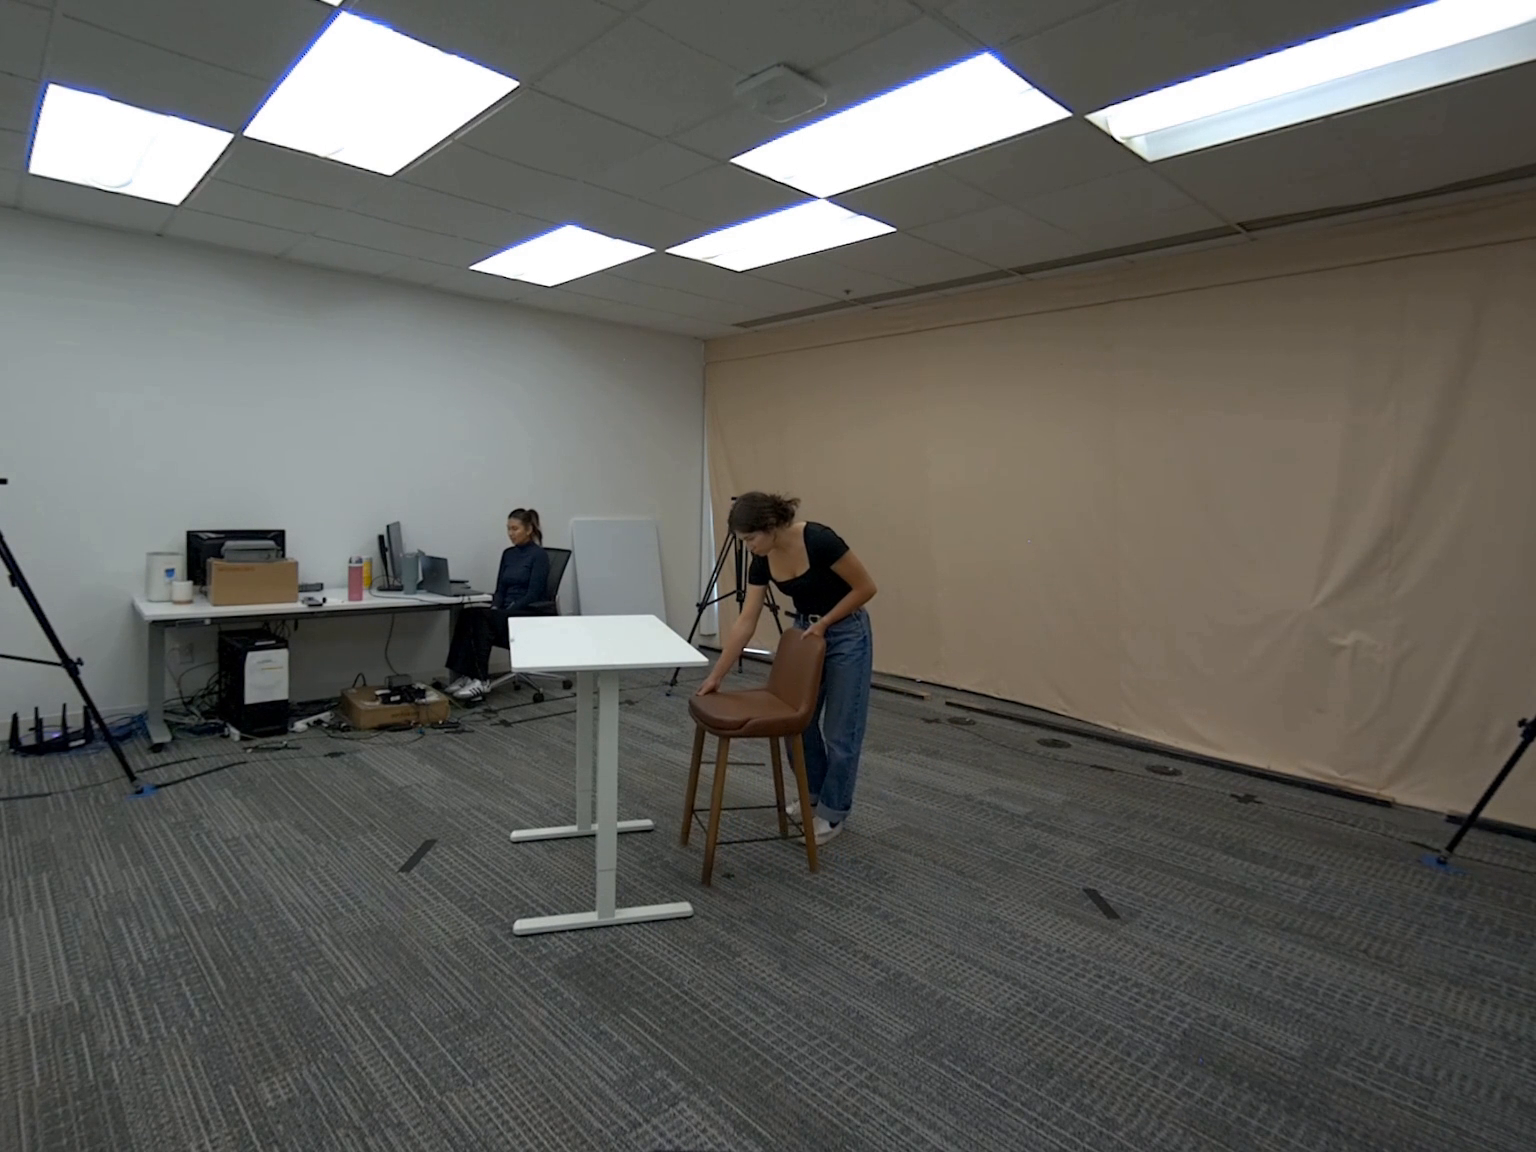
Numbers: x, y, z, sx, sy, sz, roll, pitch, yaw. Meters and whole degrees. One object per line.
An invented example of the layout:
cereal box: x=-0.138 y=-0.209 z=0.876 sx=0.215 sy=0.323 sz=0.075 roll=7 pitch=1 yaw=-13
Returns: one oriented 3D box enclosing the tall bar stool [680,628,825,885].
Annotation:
tall bar stool: x=-0.067 y=0.659 z=3.233 sx=0.462 sy=0.888 sz=0.463 roll=3 pitch=3 yaw=-16
